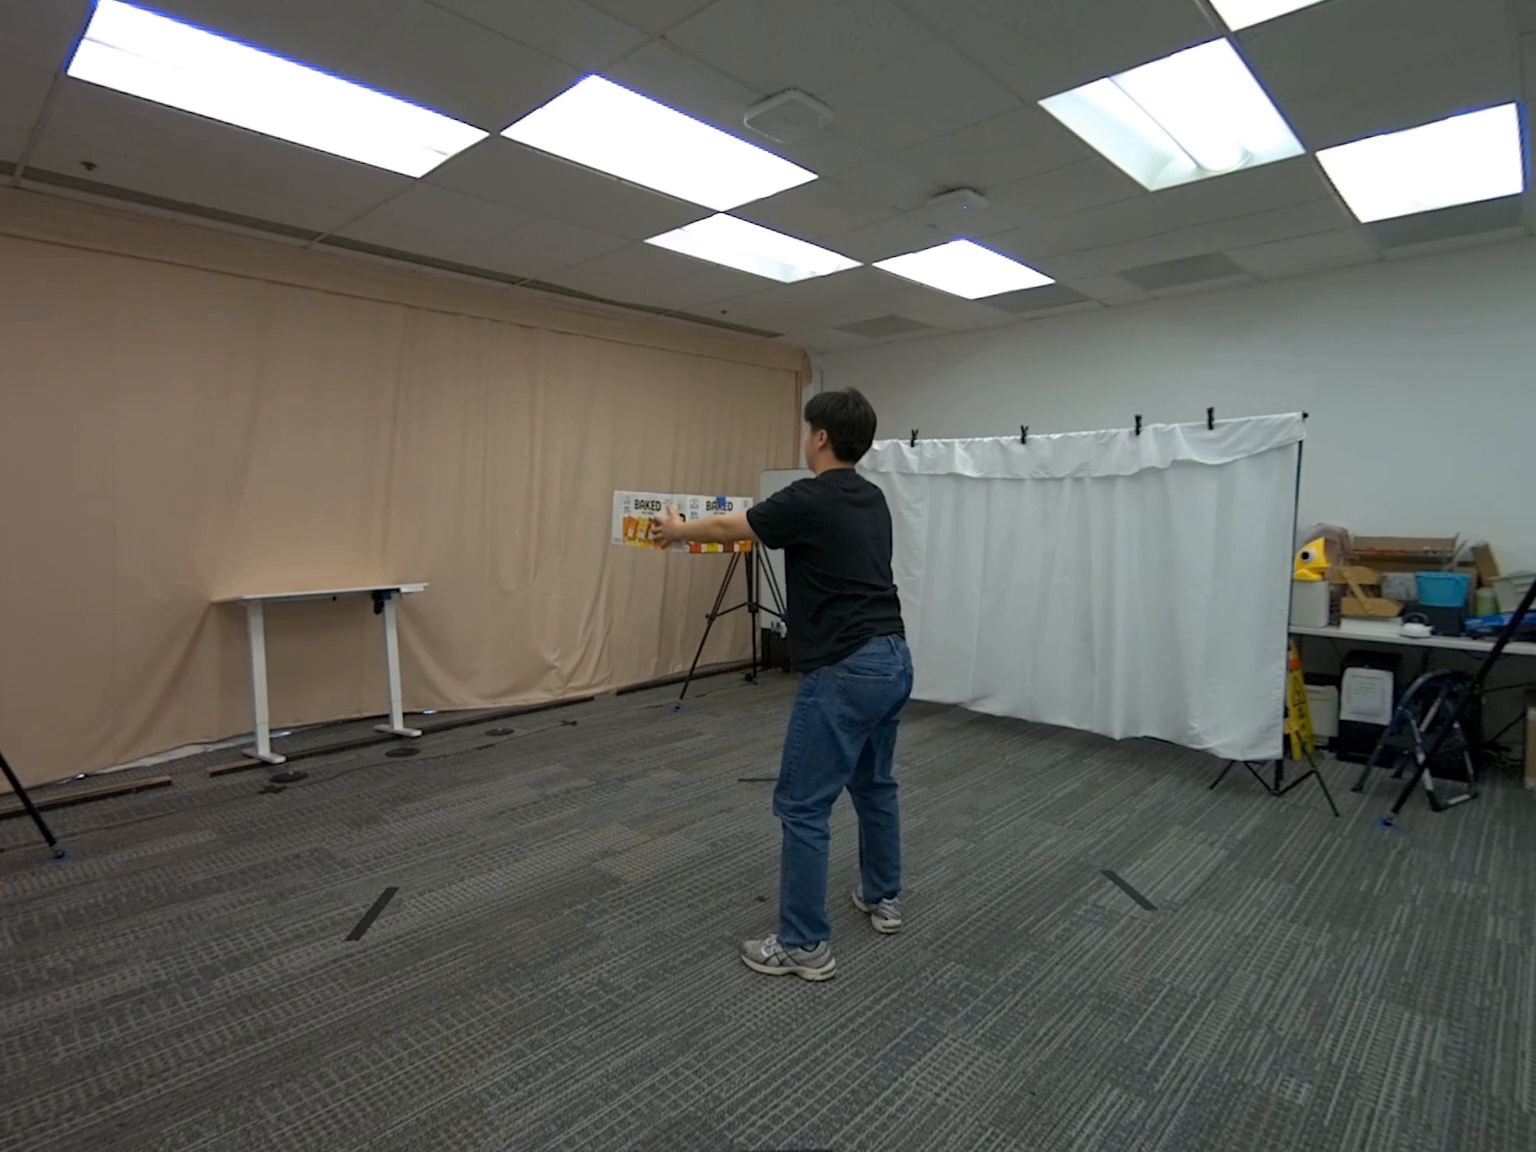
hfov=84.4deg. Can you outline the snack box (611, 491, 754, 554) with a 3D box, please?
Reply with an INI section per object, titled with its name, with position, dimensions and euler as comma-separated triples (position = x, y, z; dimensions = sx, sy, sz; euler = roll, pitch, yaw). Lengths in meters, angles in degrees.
[snack box]
position = -0.323, -0.201, 3.162
dimensions = 0.419, 0.205, 0.330
euler = 7, 6, 43
